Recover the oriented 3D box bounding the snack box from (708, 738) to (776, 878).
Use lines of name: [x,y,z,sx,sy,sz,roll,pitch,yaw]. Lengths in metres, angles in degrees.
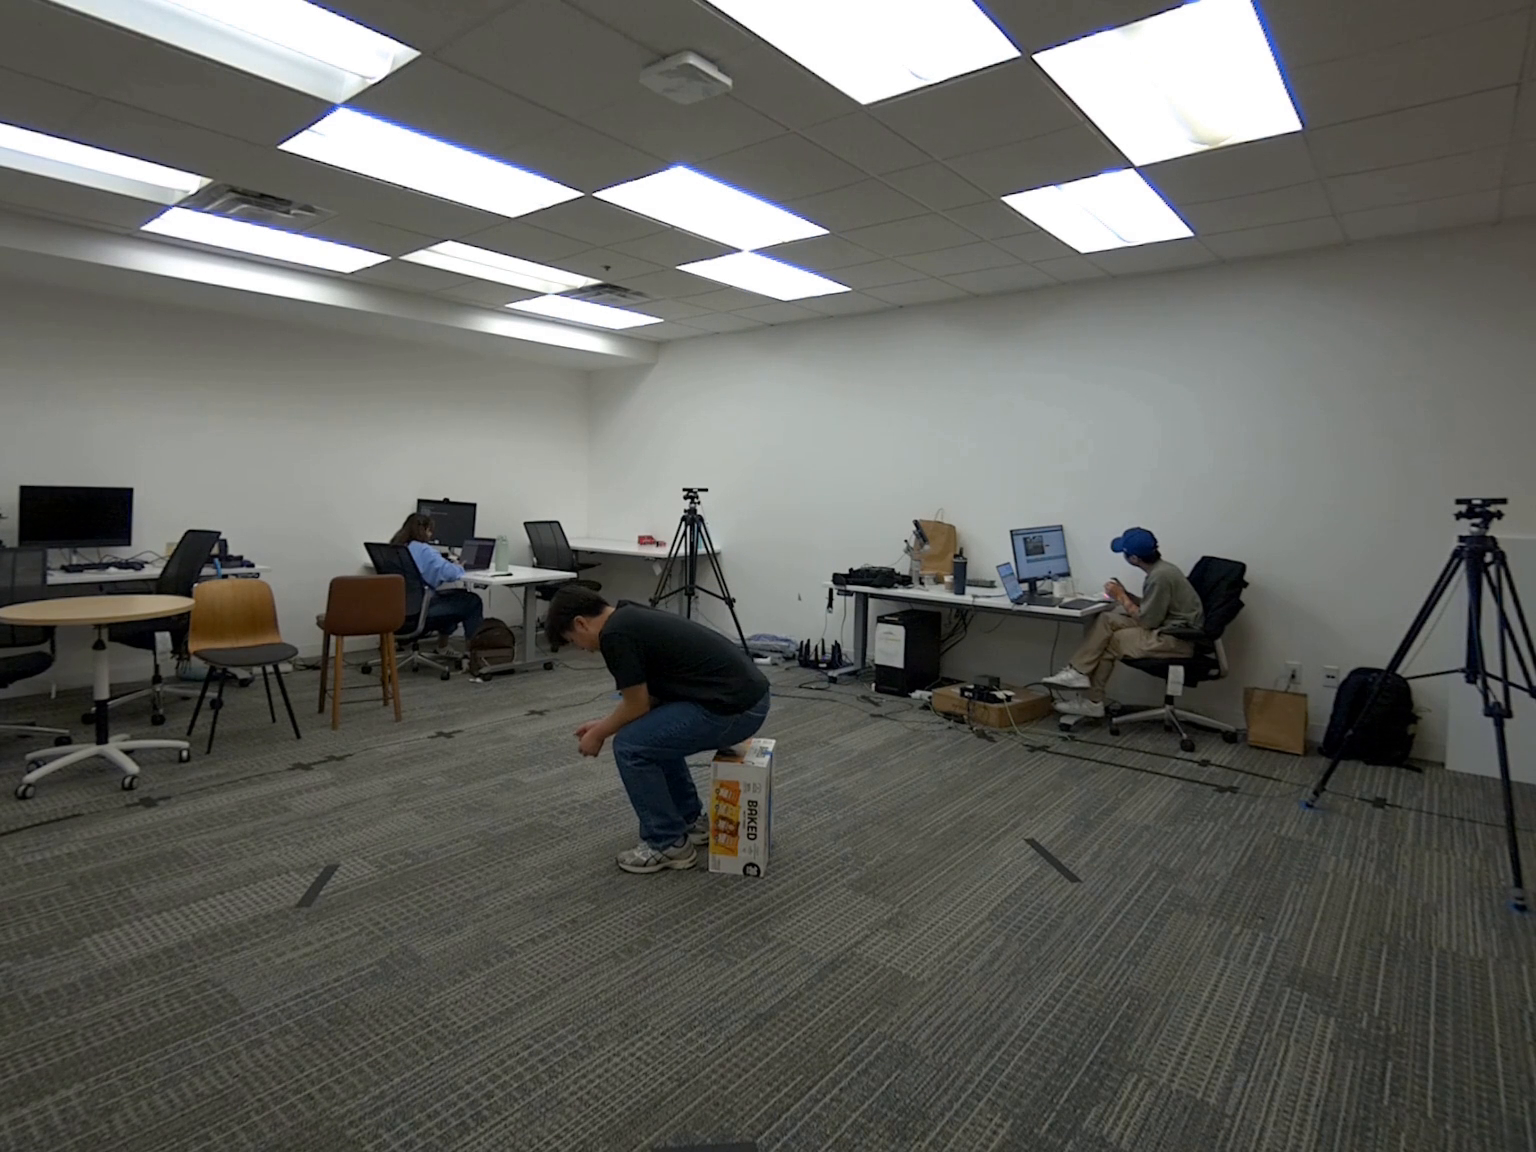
snack box: [-0.100,0.858,3.223,0.208,0.404,0.338,2,4,7]
